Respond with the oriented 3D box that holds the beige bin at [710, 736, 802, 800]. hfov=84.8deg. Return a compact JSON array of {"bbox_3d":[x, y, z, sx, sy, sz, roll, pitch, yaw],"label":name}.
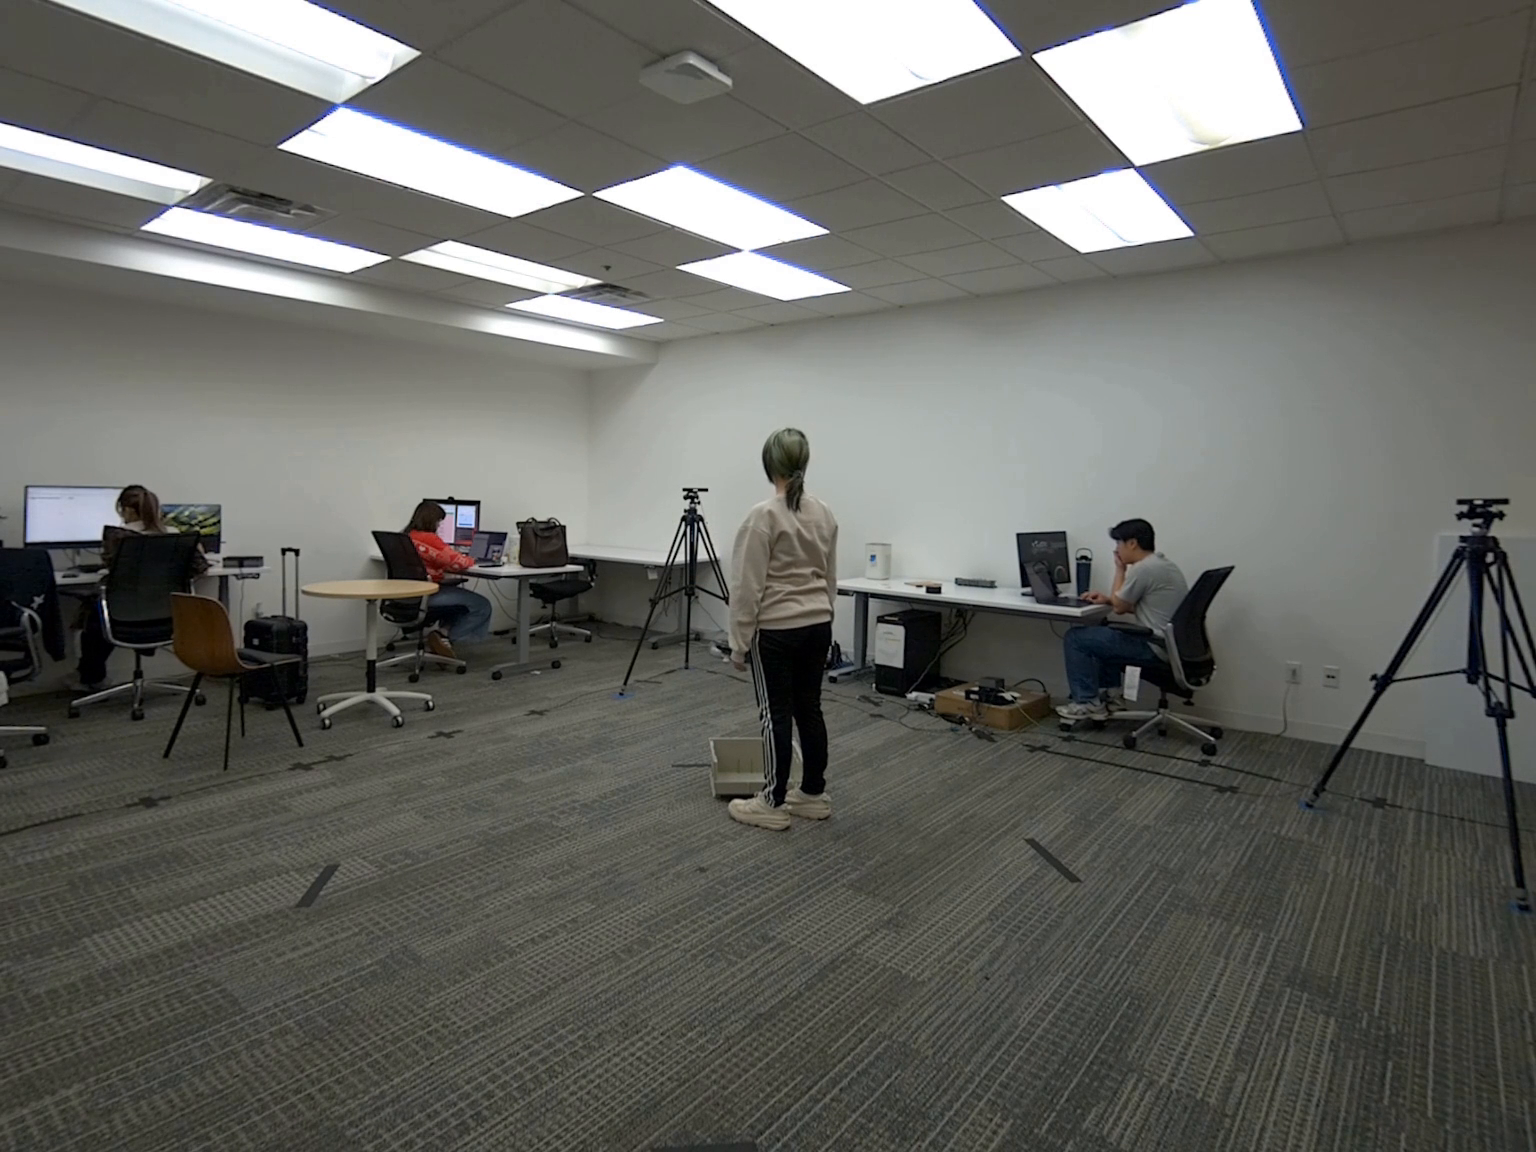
[{"bbox_3d":[-0.066,0.896,3.981,0.420,0.188,0.381,0,5,-7],"label":"beige bin"}]
